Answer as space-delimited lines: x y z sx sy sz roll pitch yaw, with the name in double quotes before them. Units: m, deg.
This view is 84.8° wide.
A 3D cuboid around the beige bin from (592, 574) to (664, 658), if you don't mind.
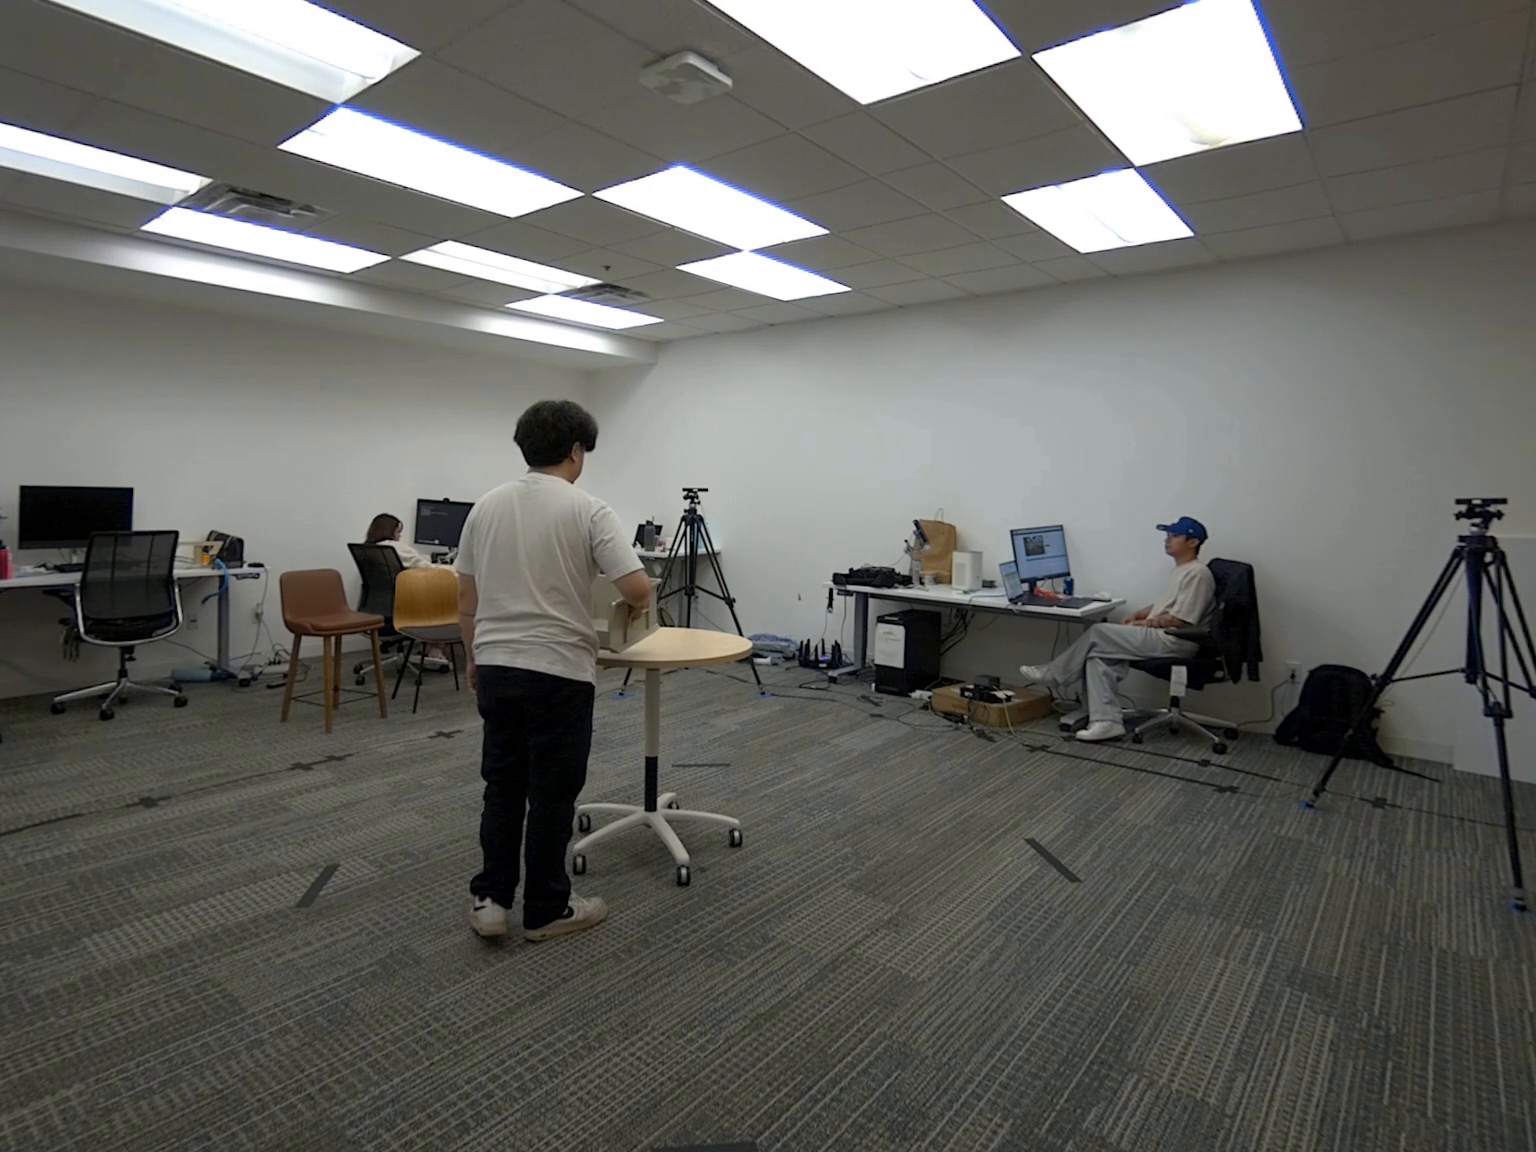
"beige bin" -0.645 0.124 2.966 0.432 0.187 0.373 2 11 20
